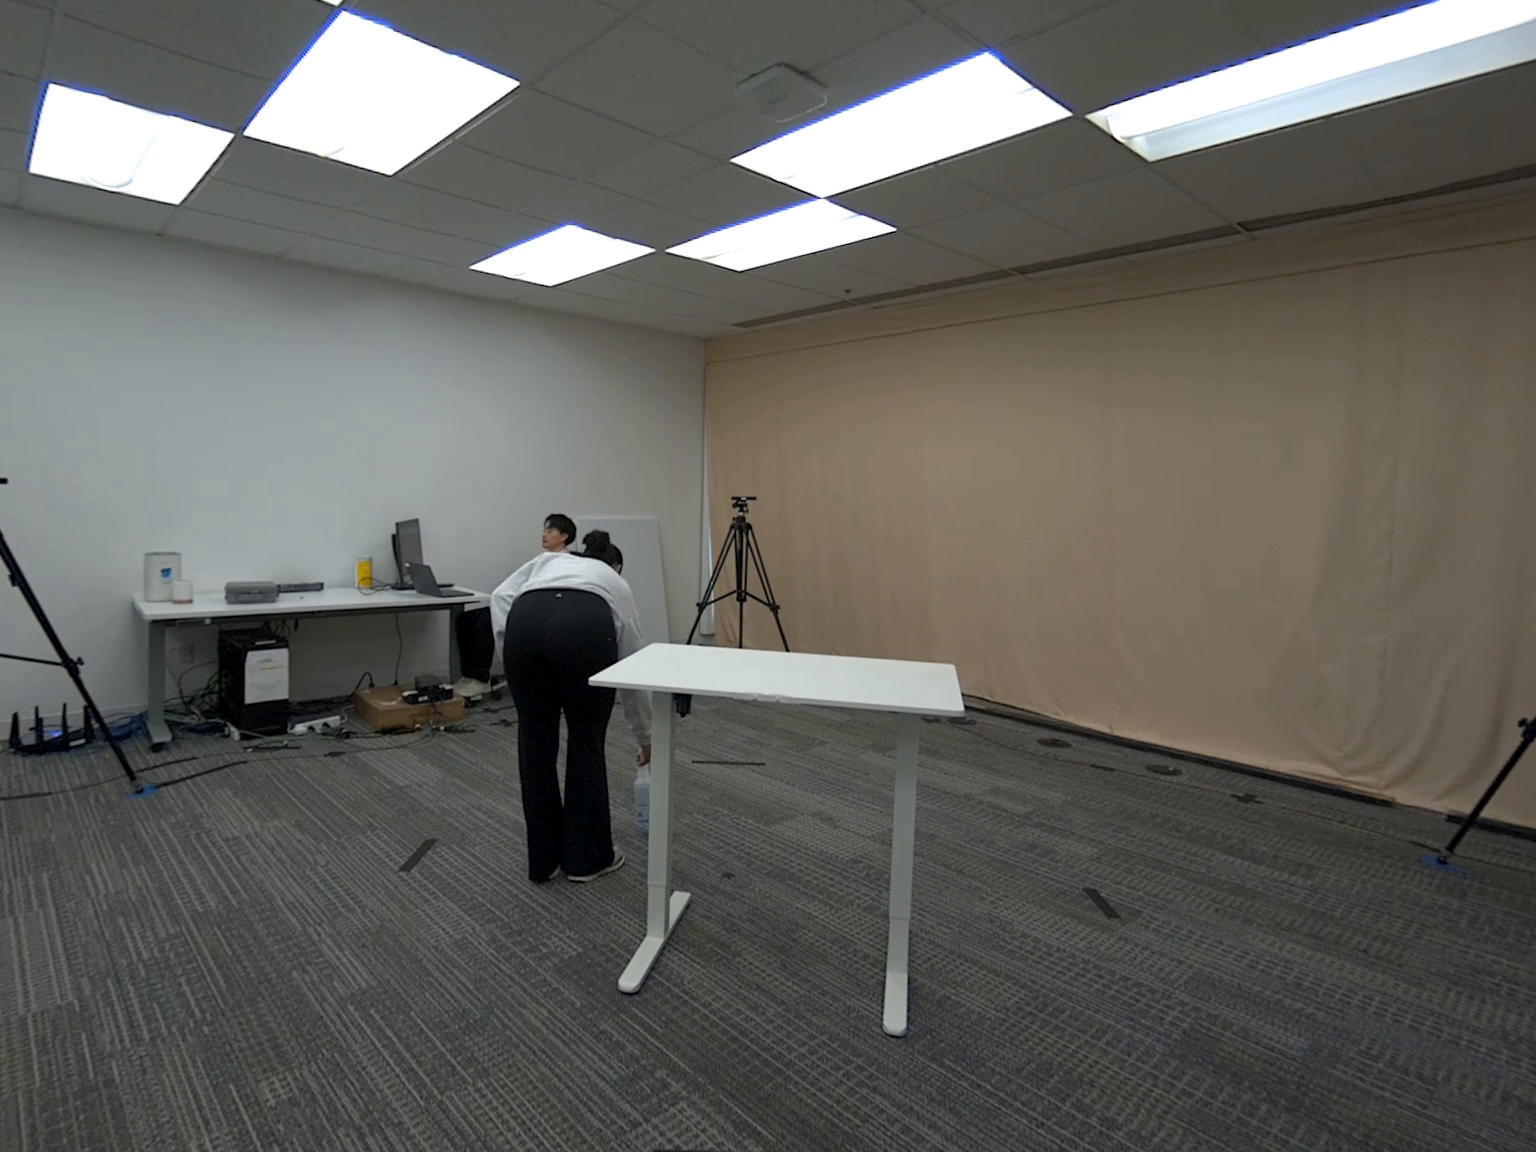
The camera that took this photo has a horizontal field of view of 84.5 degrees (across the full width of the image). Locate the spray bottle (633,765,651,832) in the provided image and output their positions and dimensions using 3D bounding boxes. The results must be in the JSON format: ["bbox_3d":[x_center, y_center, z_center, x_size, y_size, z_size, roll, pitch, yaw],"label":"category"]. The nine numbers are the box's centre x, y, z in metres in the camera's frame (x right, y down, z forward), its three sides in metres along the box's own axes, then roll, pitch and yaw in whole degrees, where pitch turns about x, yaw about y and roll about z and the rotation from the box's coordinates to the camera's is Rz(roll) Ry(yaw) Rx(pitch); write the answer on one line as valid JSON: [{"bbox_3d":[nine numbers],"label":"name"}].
[{"bbox_3d":[-0.530,0.857,3.477,0.087,0.297,0.090,-2,0,3],"label":"spray bottle"}]
